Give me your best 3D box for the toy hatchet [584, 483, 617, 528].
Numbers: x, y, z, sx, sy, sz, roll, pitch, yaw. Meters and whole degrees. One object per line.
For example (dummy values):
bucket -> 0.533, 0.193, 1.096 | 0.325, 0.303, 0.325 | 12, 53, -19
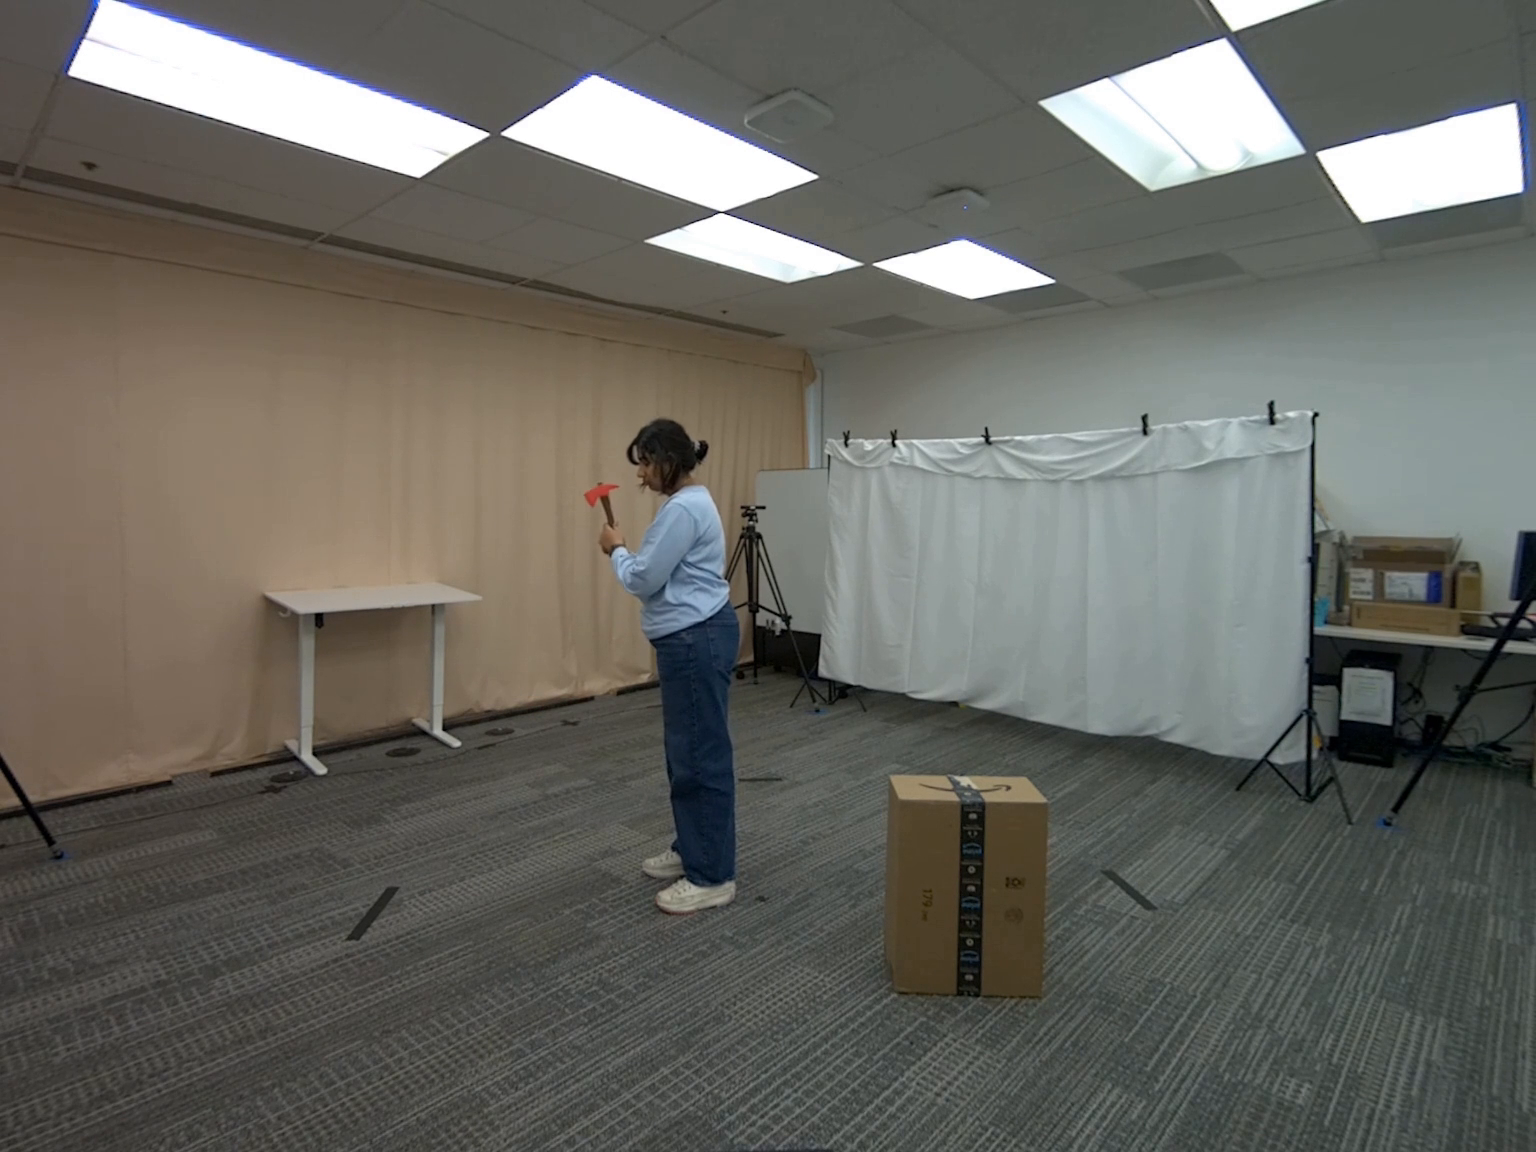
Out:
toy hatchet -> -0.617, -0.213, 3.146 | 0.130, 0.270, 0.030 | 2, 2, -9
